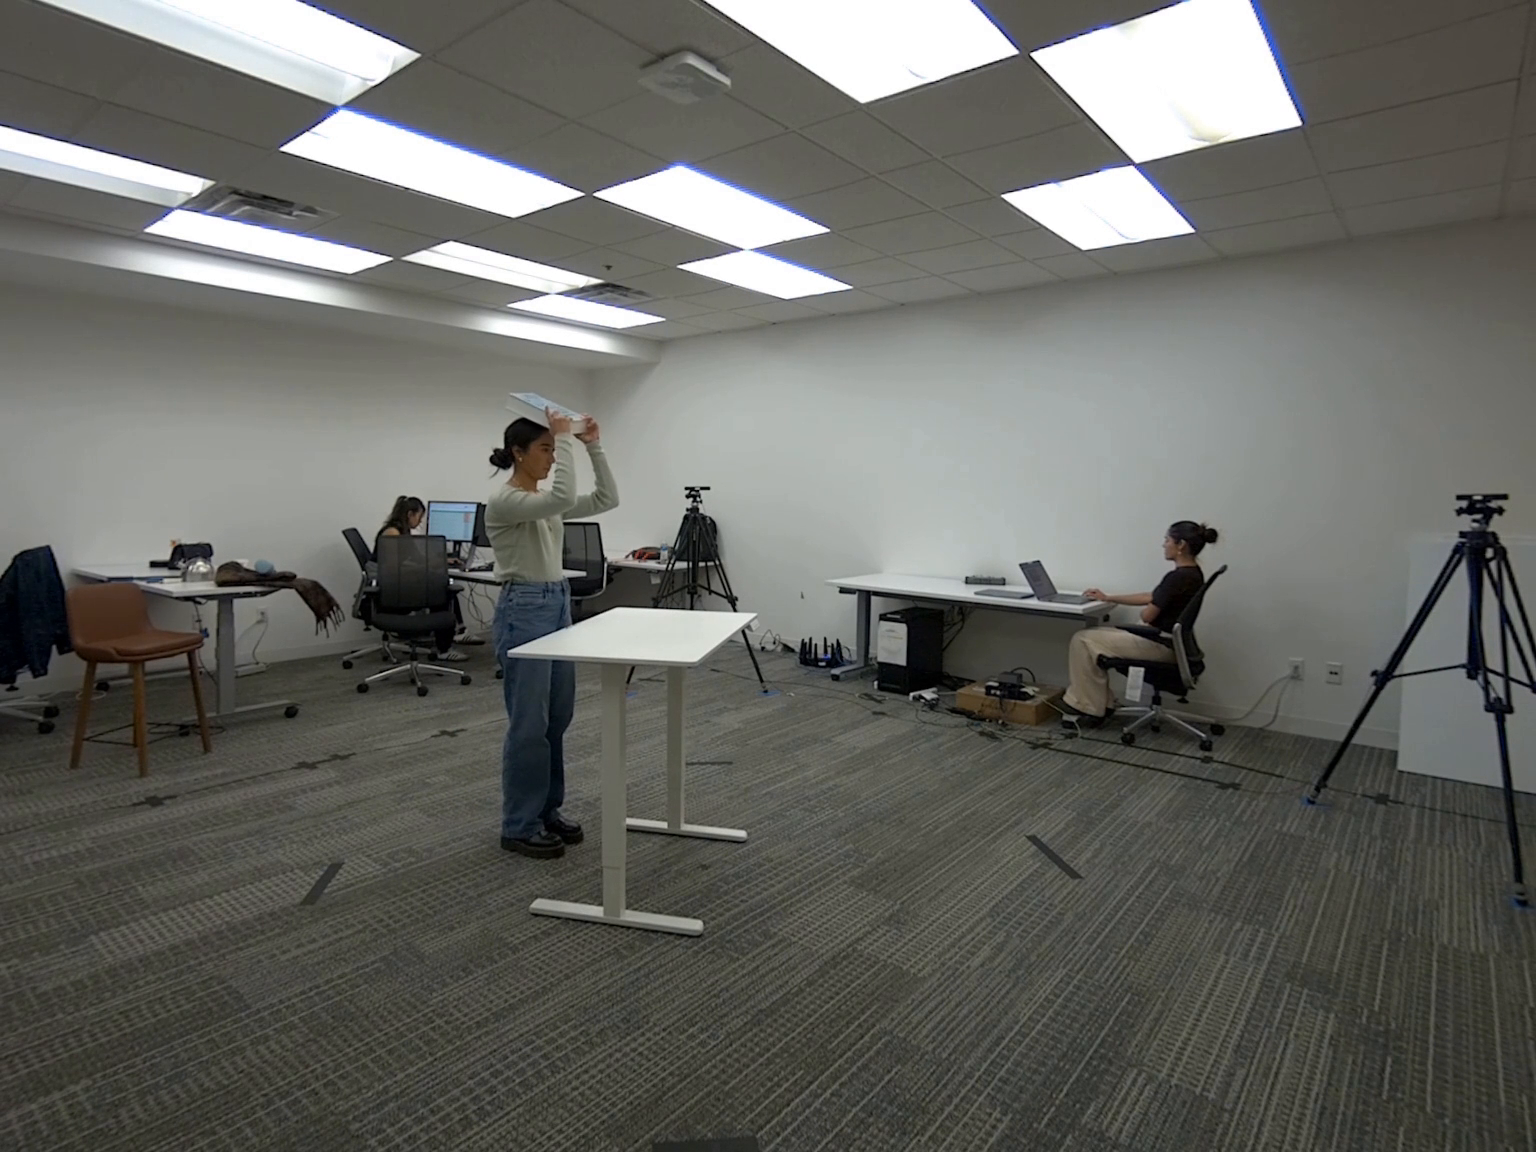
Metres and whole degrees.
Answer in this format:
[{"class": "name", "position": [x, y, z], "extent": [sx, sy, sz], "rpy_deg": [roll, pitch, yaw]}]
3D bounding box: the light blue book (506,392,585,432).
[{"class": "light blue book", "position": [-0.849, -0.619, 3.234], "extent": [0.266, 0.058, 0.189], "rpy_deg": [26, 18, 13]}]
